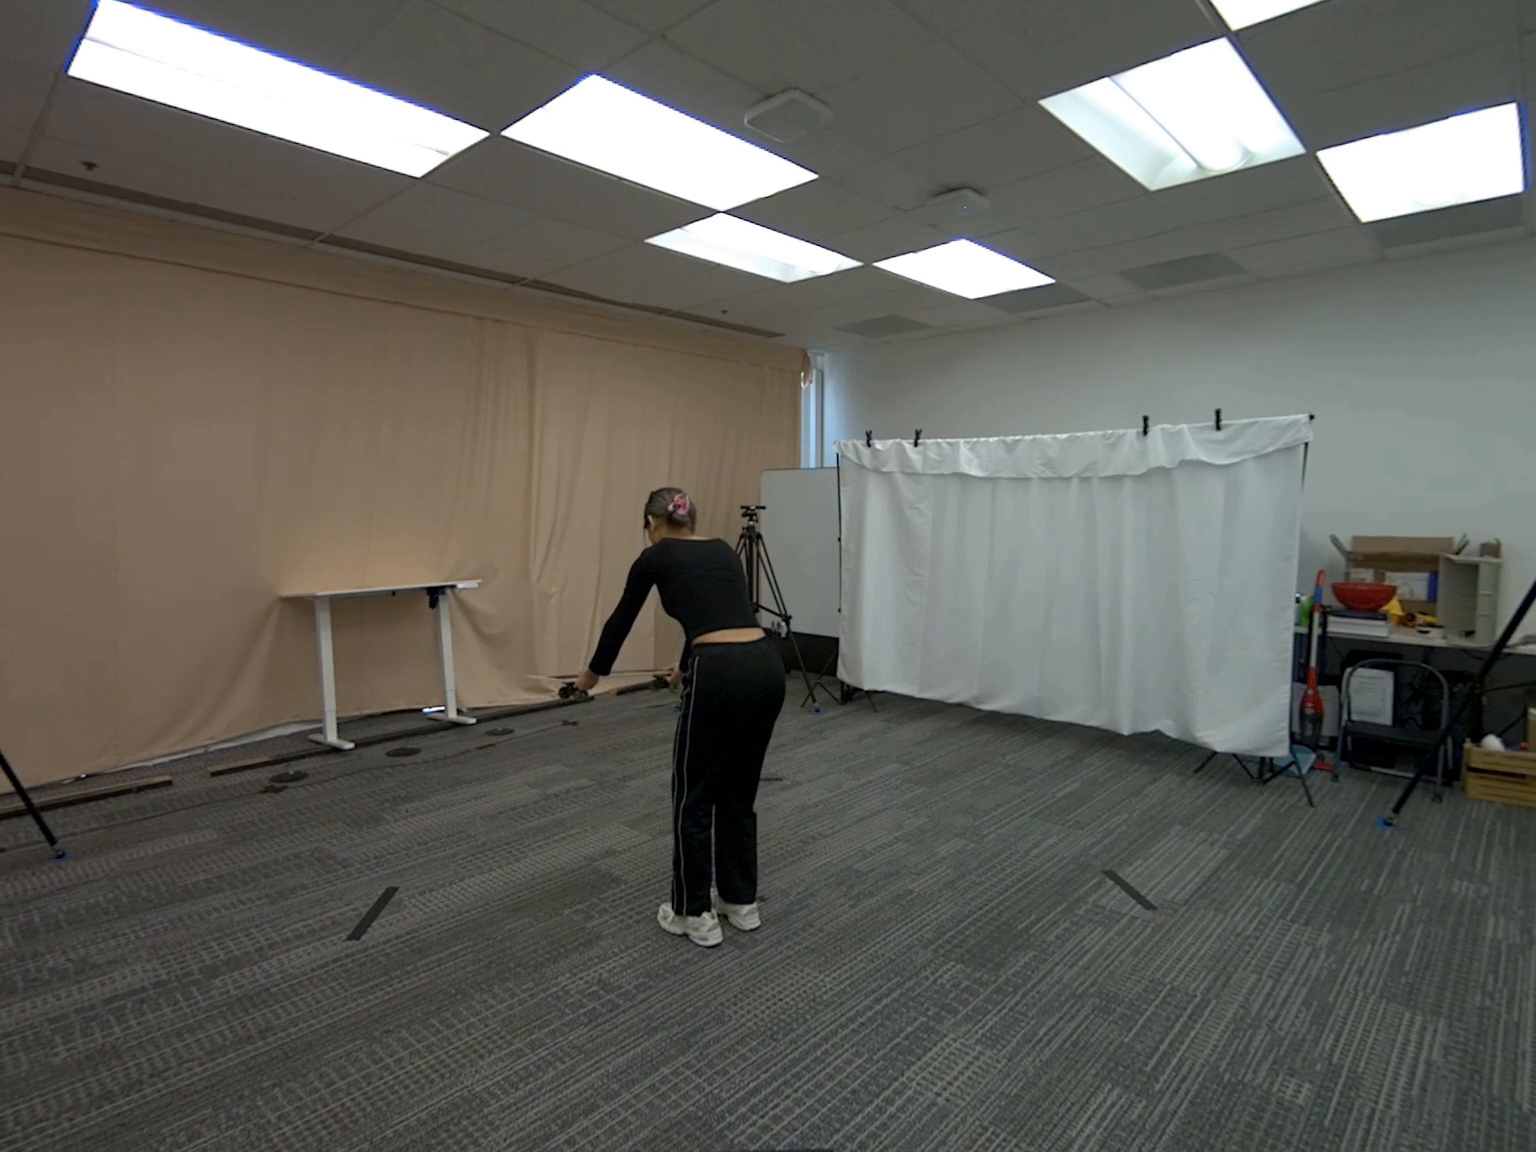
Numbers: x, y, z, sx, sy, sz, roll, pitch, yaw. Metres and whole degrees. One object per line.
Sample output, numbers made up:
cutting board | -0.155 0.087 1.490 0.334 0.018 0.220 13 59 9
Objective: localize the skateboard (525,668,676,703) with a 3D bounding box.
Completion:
skateboard | -0.583 0.421 3.272 0.762 0.111 0.198 0 -7 -34
